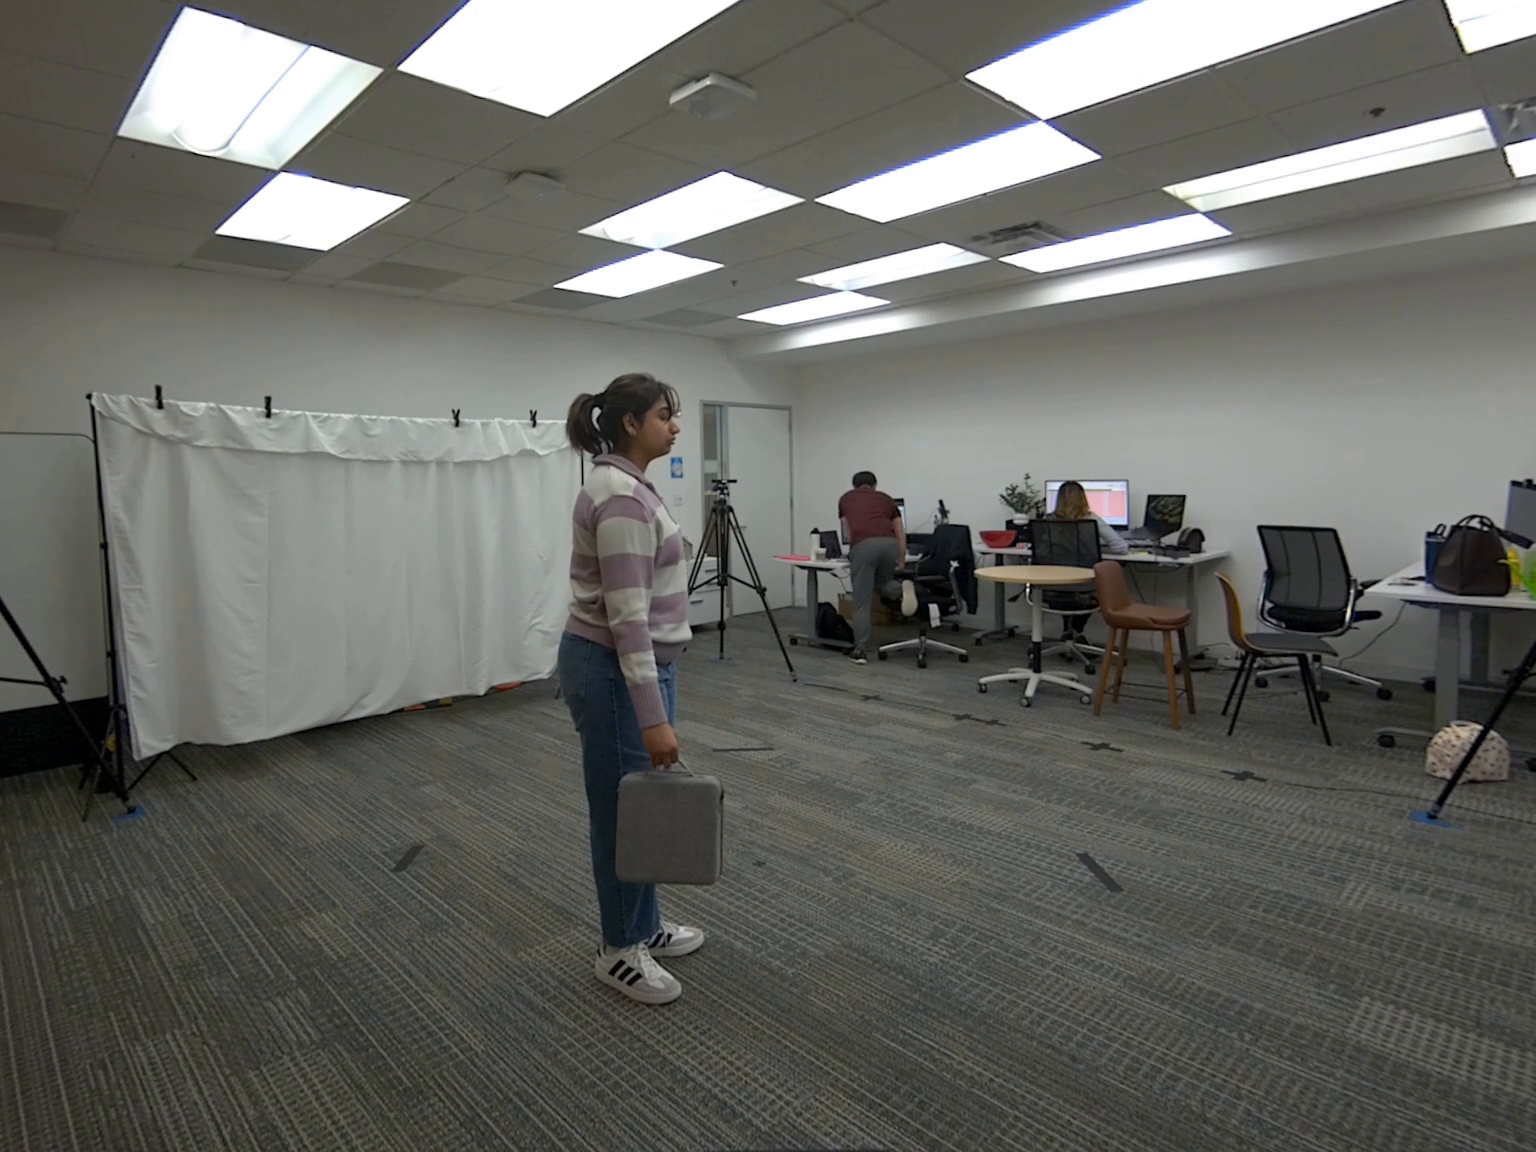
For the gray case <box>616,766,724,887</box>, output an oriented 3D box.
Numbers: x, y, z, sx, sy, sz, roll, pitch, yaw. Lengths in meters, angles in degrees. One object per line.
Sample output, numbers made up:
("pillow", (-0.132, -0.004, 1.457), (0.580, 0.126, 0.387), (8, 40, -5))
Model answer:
("gray case", (-0.229, 0.608, 2.089), (0.258, 0.262, 0.103), (-1, -8, 3))
